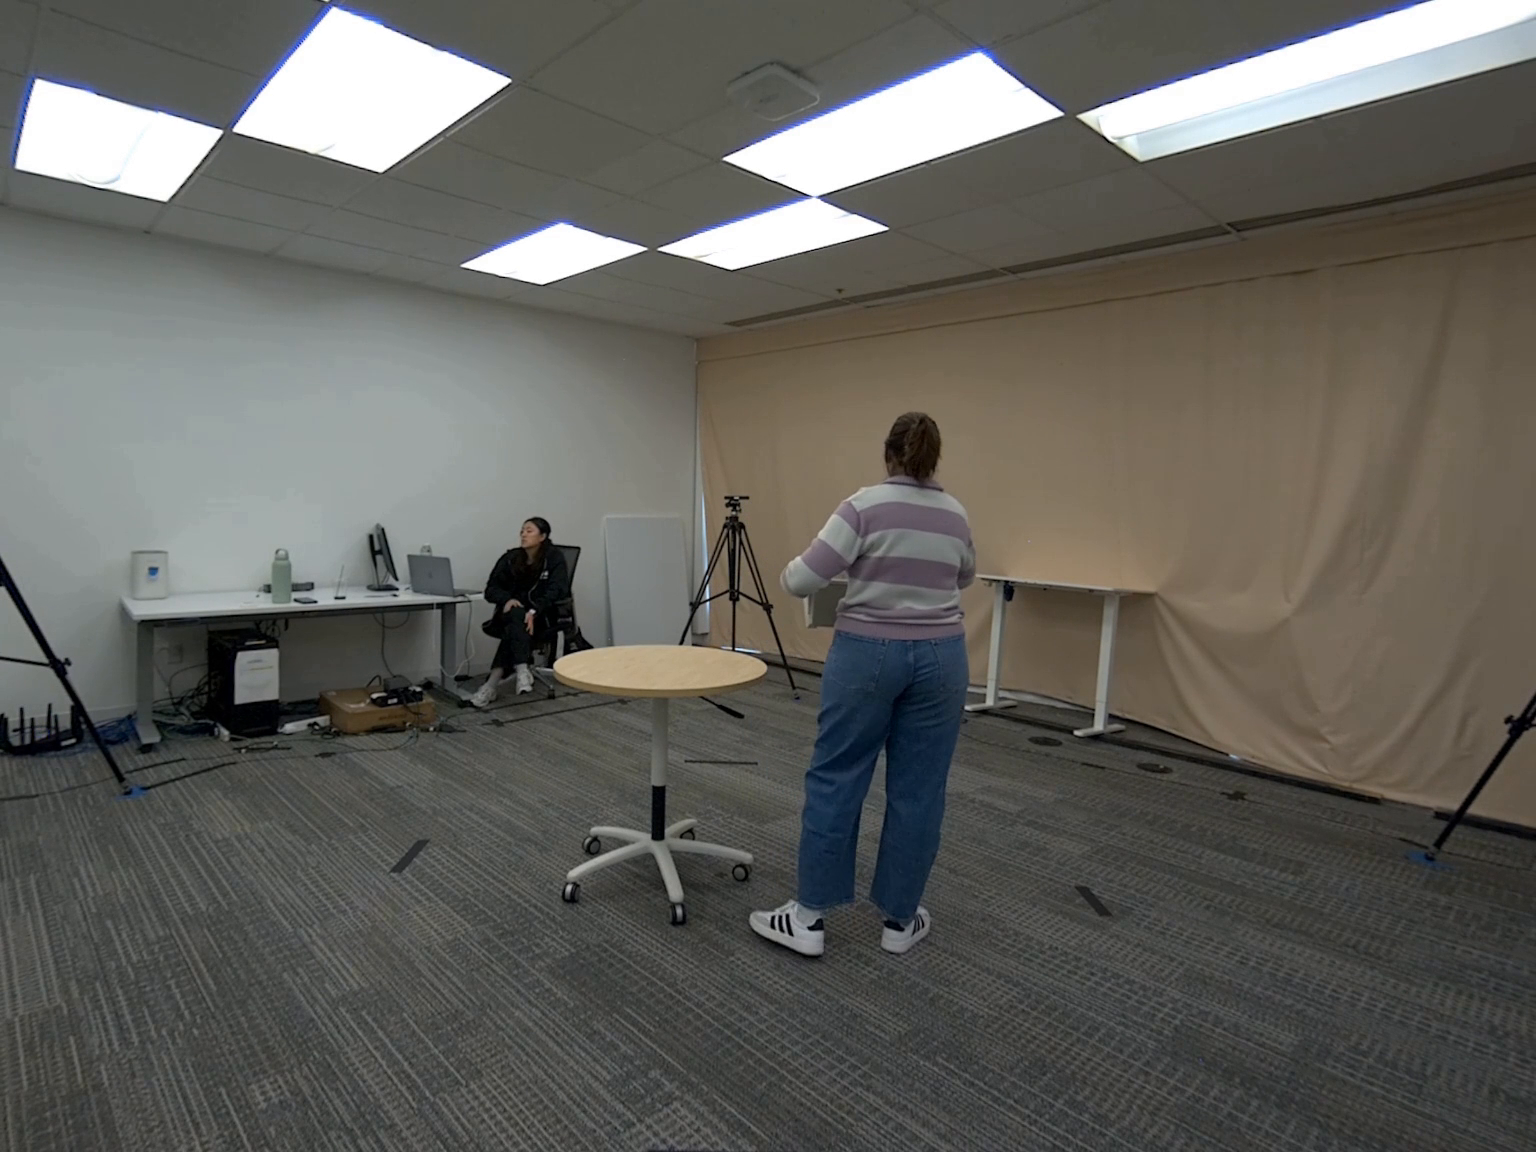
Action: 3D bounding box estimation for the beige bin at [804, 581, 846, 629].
[{"bbox_3d":[0.346,0.052,2.925,0.422,0.187,0.382,6,19,-1],"label":"beige bin"}]
